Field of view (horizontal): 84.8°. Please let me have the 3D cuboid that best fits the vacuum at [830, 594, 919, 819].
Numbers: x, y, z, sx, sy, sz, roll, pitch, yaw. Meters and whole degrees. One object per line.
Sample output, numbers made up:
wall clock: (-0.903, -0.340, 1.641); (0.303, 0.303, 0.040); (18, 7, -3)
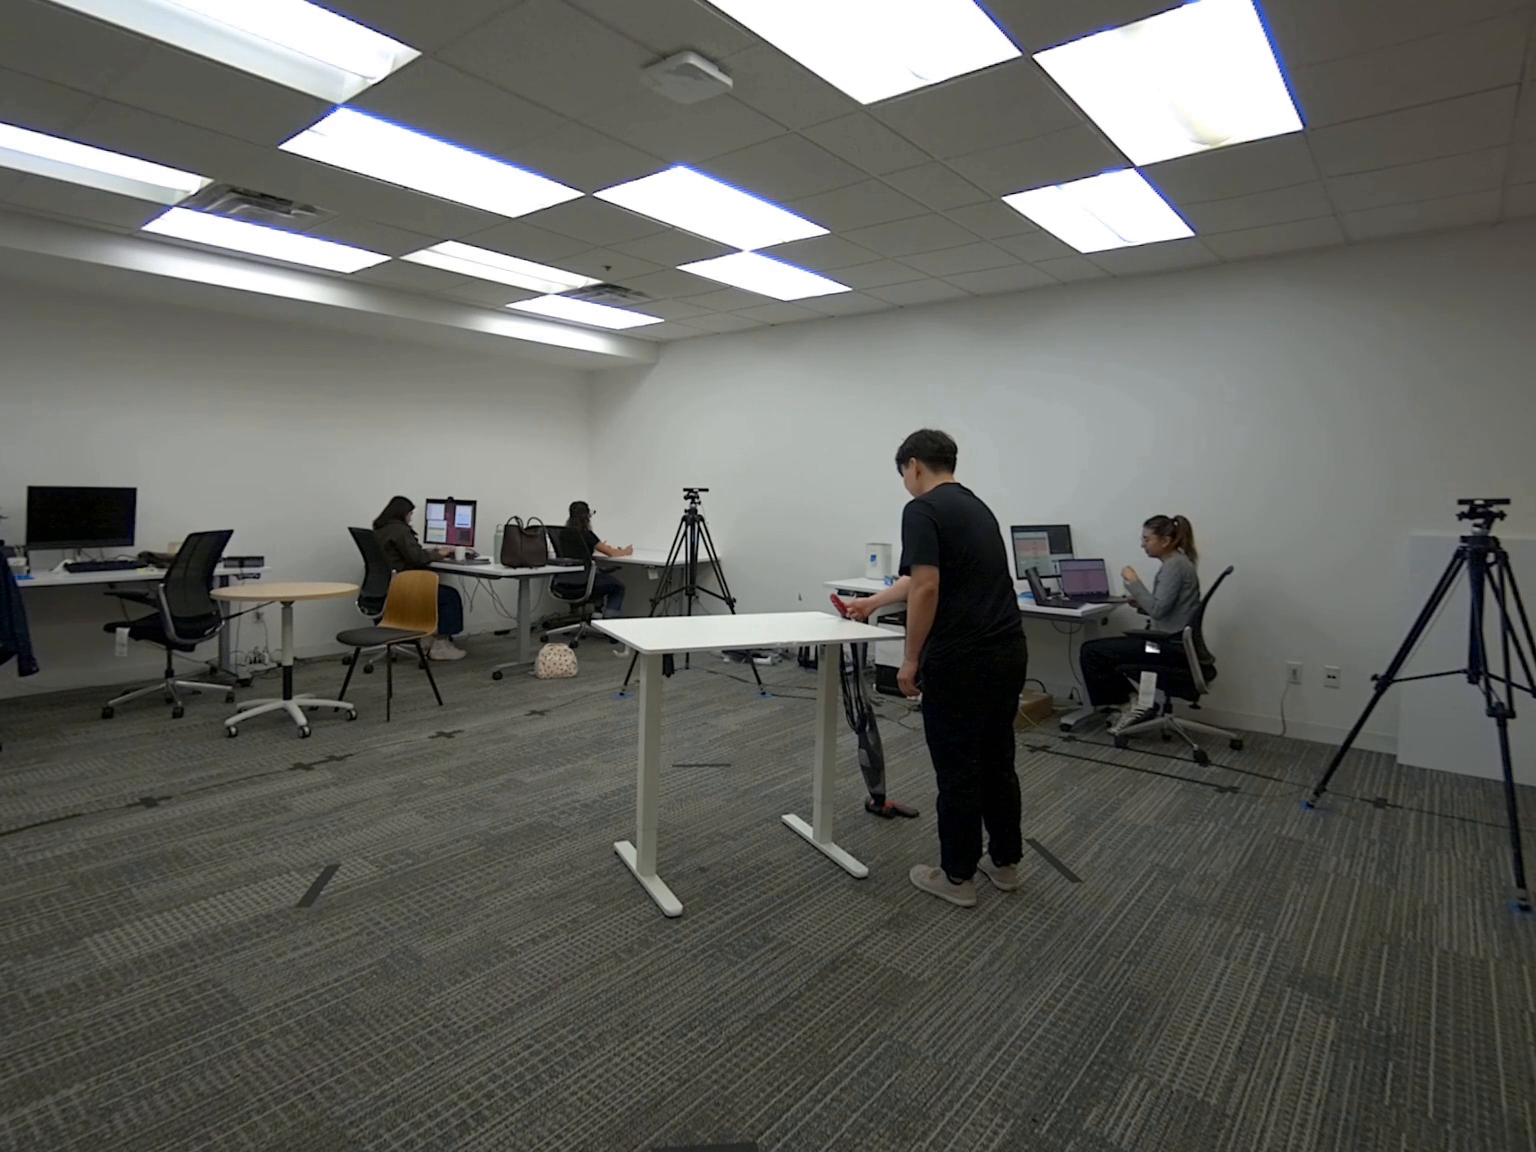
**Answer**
vacuum: (0.389, 0.557, 3.565); (0.261, 1.027, 0.142); (2, 24, 40)
